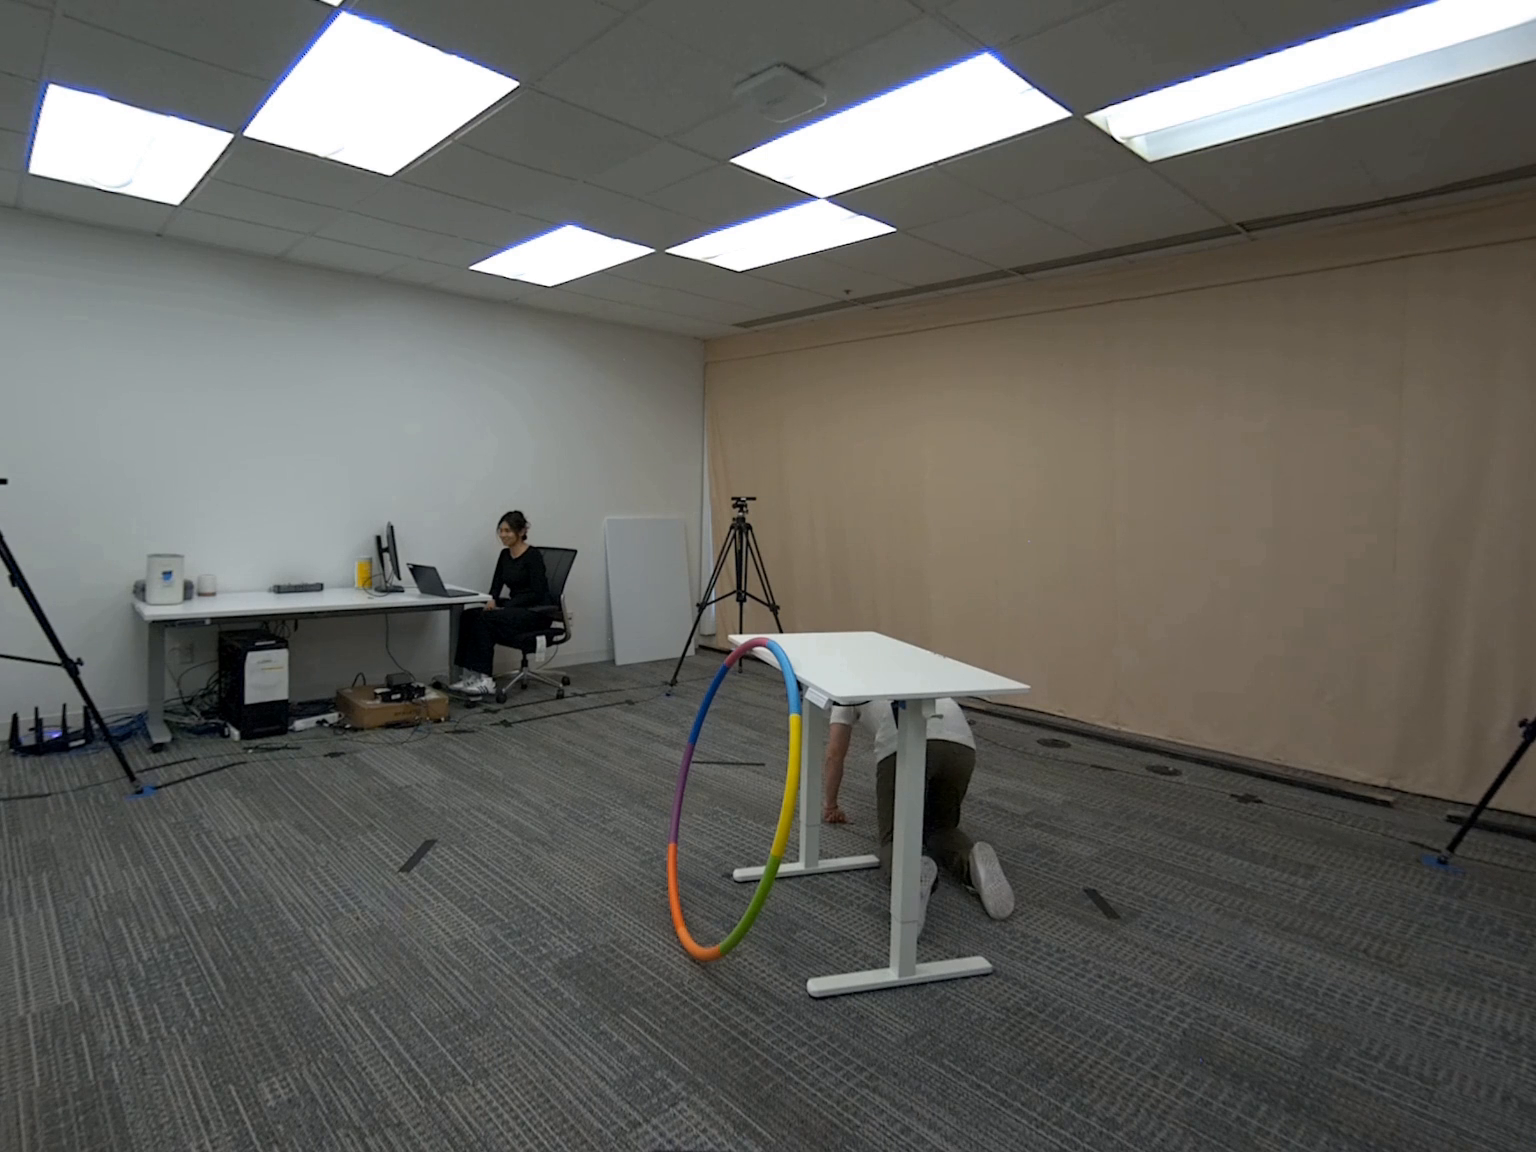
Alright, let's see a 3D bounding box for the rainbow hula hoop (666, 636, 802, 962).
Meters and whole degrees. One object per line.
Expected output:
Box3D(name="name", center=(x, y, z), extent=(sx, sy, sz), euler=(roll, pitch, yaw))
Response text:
Box3D(name="rainbow hula hoop", center=(-0.143, 0.682, 2.658), extent=(0.035, 0.979, 0.995), euler=(17, -1, -19))
